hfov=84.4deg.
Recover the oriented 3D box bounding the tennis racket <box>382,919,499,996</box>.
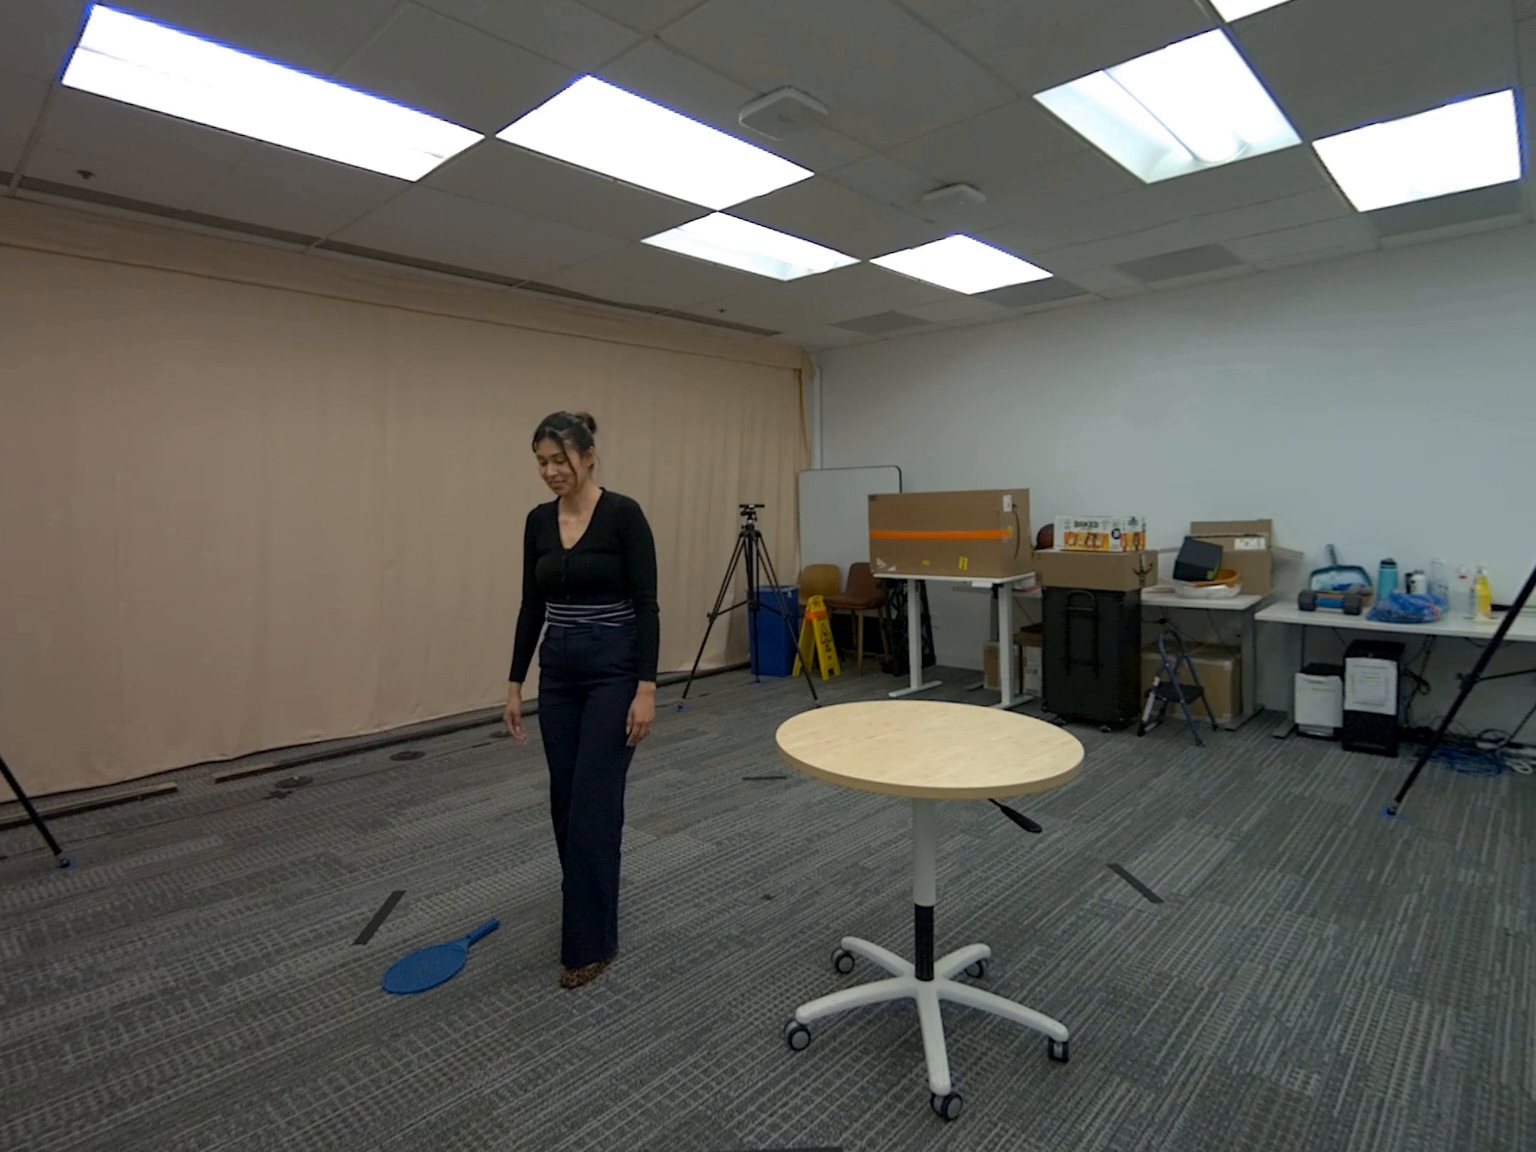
[{"bbox_3d":[-1.006,1.184,2.630,0.219,0.031,0.423,0,6,26],"label":"tennis racket"}]
